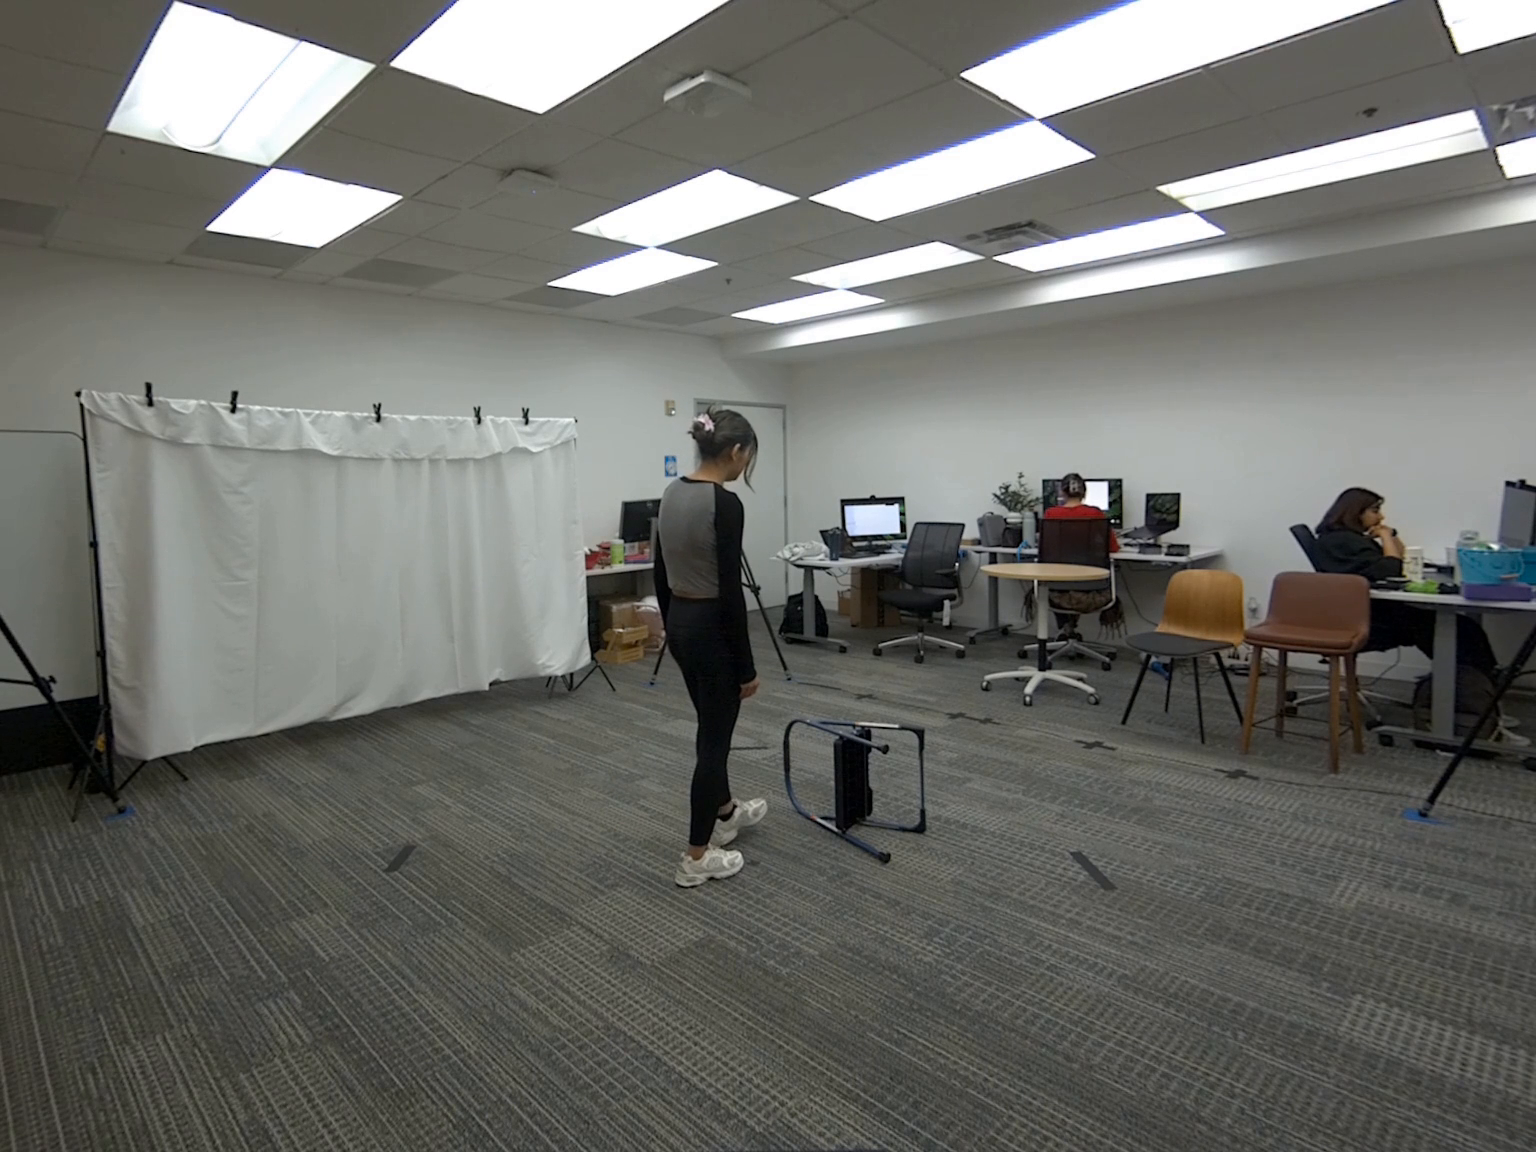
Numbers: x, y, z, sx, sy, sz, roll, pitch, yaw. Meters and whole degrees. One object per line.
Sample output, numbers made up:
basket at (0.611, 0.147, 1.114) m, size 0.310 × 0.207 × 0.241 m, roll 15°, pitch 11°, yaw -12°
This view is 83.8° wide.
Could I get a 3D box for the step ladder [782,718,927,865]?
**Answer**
step ladder at (0.284, 0.798, 3.388) m, size 0.624 × 0.430 × 0.340 m, roll 2°, pitch 4°, yaw 38°
